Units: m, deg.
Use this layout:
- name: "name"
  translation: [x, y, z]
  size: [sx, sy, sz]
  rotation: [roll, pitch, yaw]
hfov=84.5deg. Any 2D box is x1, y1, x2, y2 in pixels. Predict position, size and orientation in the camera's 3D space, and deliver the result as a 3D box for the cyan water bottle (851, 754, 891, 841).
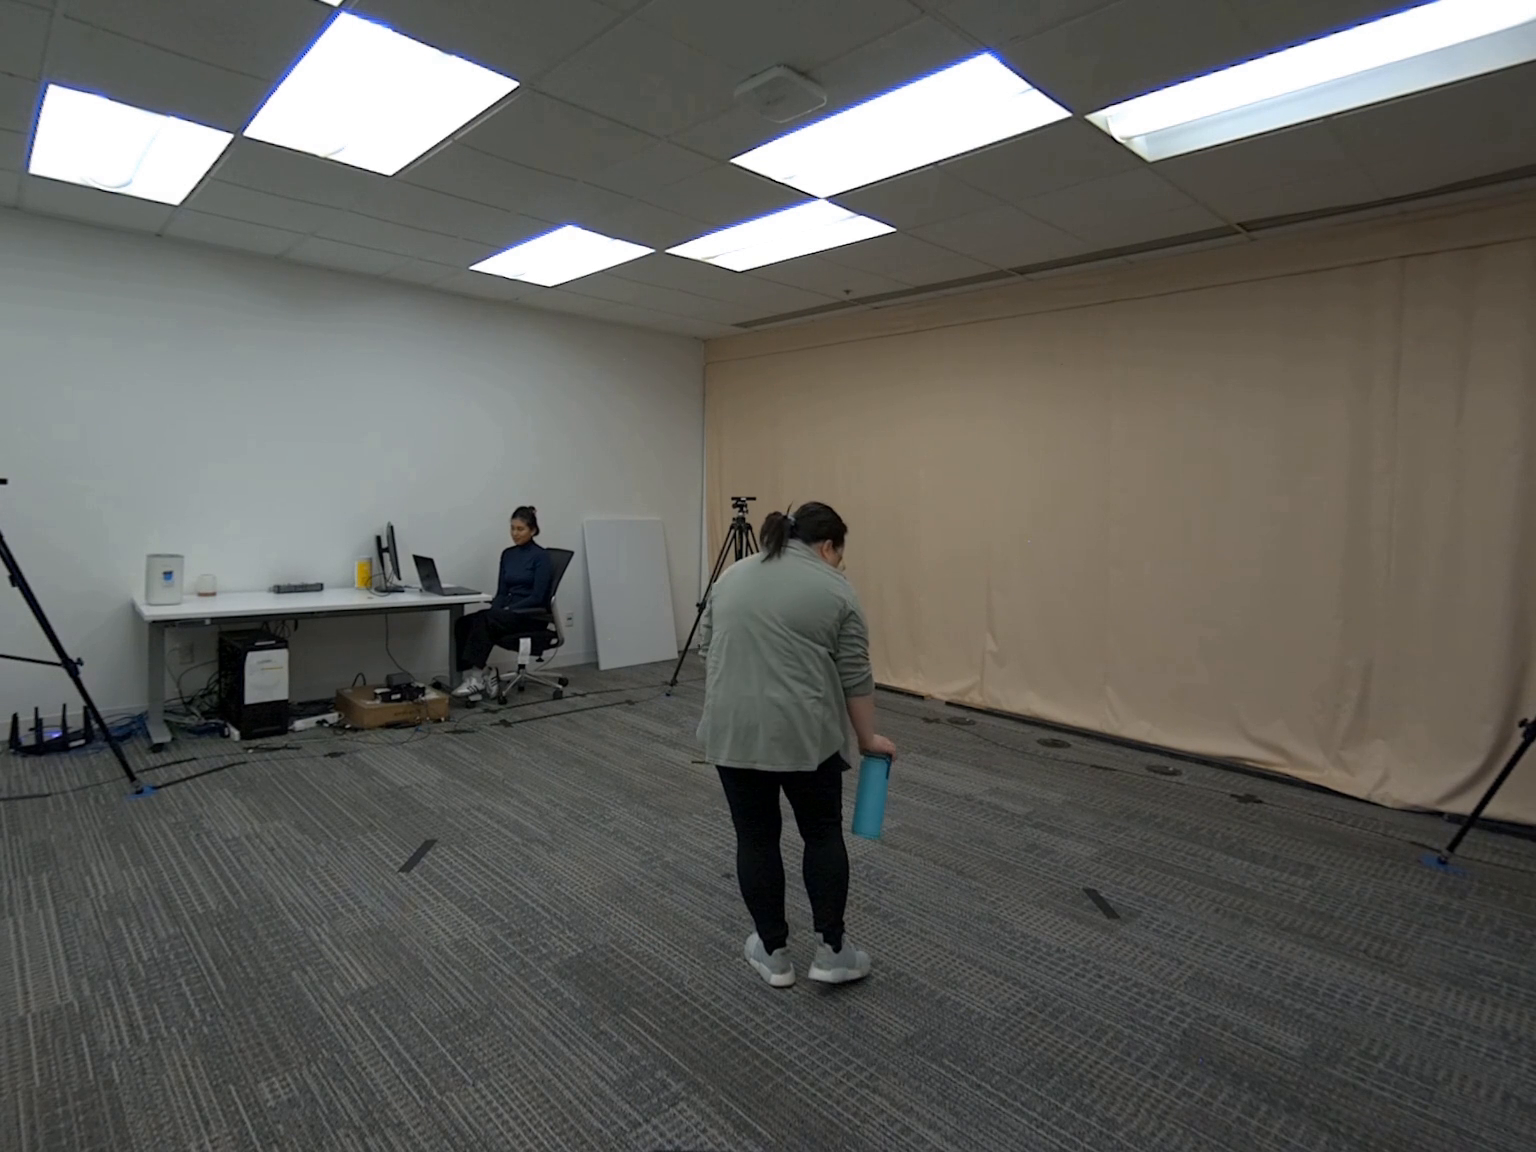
- name: "cyan water bottle"
  translation: [0.310, 0.652, 2.539]
  size: [0.092, 0.285, 0.091]
  rotation: [10, -12, 1]
